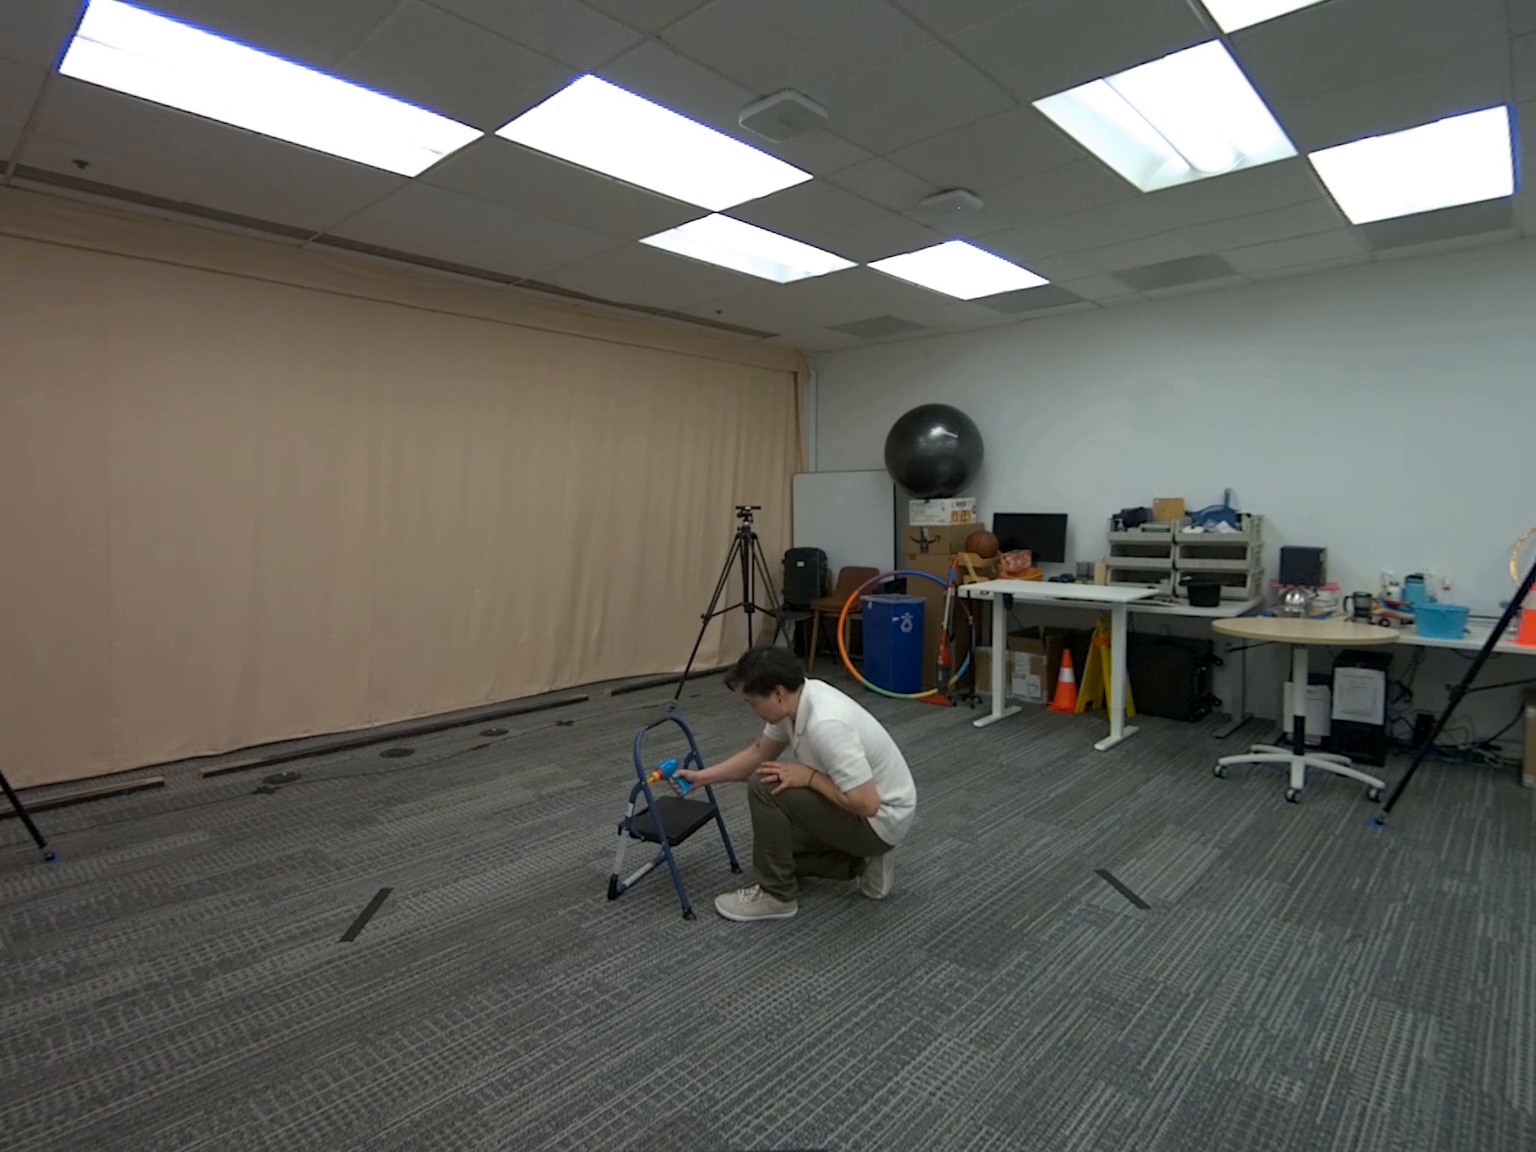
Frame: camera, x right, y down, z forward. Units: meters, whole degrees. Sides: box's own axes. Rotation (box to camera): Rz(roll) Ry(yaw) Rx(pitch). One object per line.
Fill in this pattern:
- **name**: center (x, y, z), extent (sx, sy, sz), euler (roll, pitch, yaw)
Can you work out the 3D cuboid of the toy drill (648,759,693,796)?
- **toy drill**: center (-0.346, 0.736, 2.978), extent (0.166, 0.148, 0.061), euler (-24, -17, -51)
